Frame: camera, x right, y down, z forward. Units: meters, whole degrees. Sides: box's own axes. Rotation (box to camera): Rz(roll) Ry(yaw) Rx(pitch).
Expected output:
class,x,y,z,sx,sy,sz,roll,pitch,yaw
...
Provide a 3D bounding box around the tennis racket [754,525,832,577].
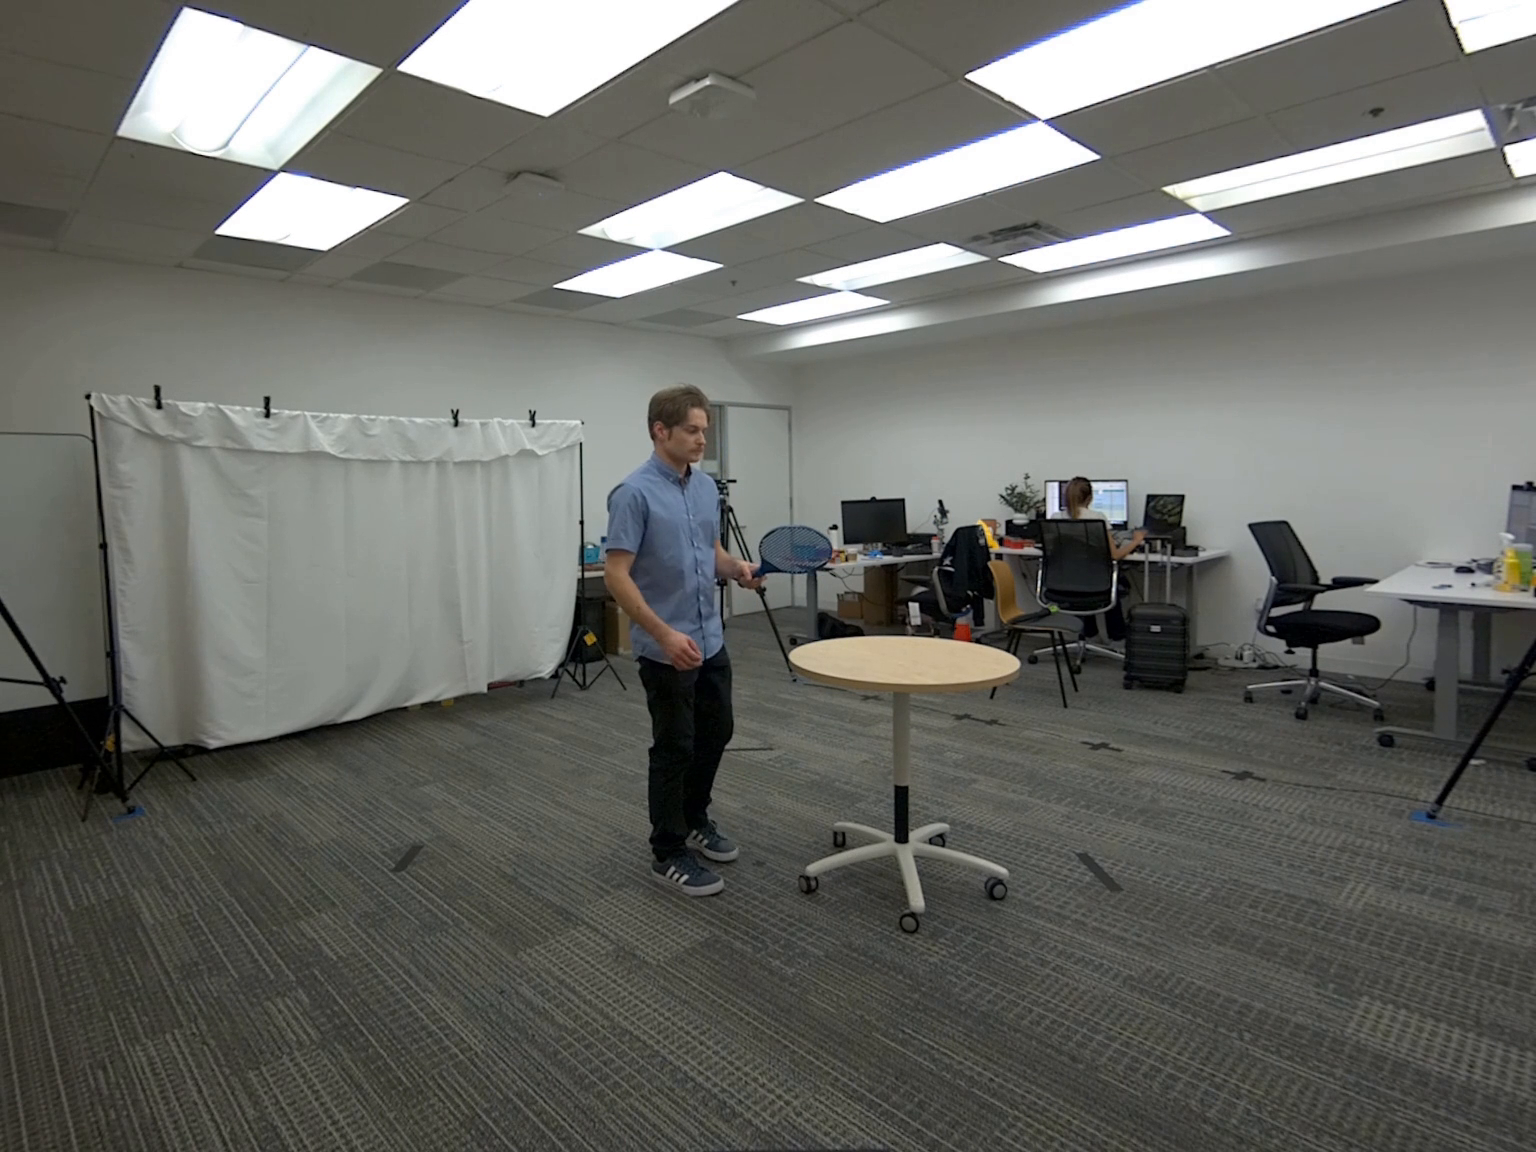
class,x,y,z,sx,sy,sz,roll,pitch,yaw
tennis racket,0.037,-0.044,2.704,0.209,0.032,0.437,39,-41,-19
